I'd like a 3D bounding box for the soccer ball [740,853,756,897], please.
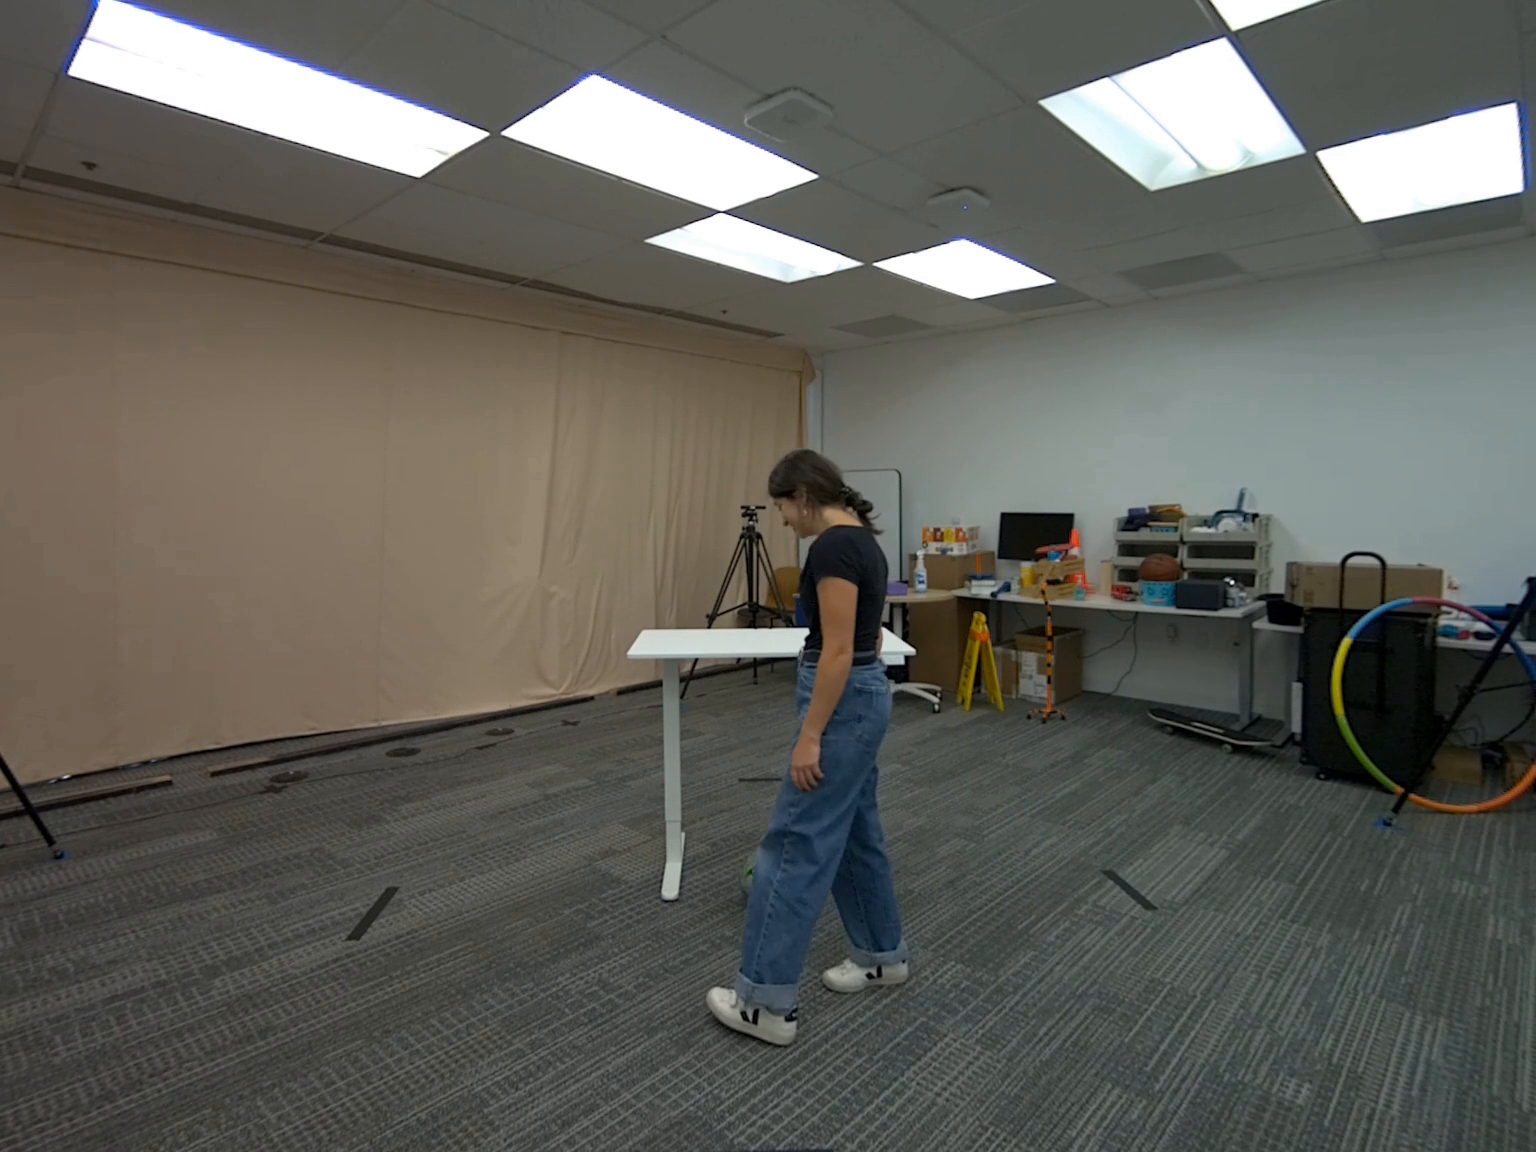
[{"bbox_3d":[0.003,1.060,2.924,0.187,0.187,0.188,0,4,-2],"label":"soccer ball"}]
